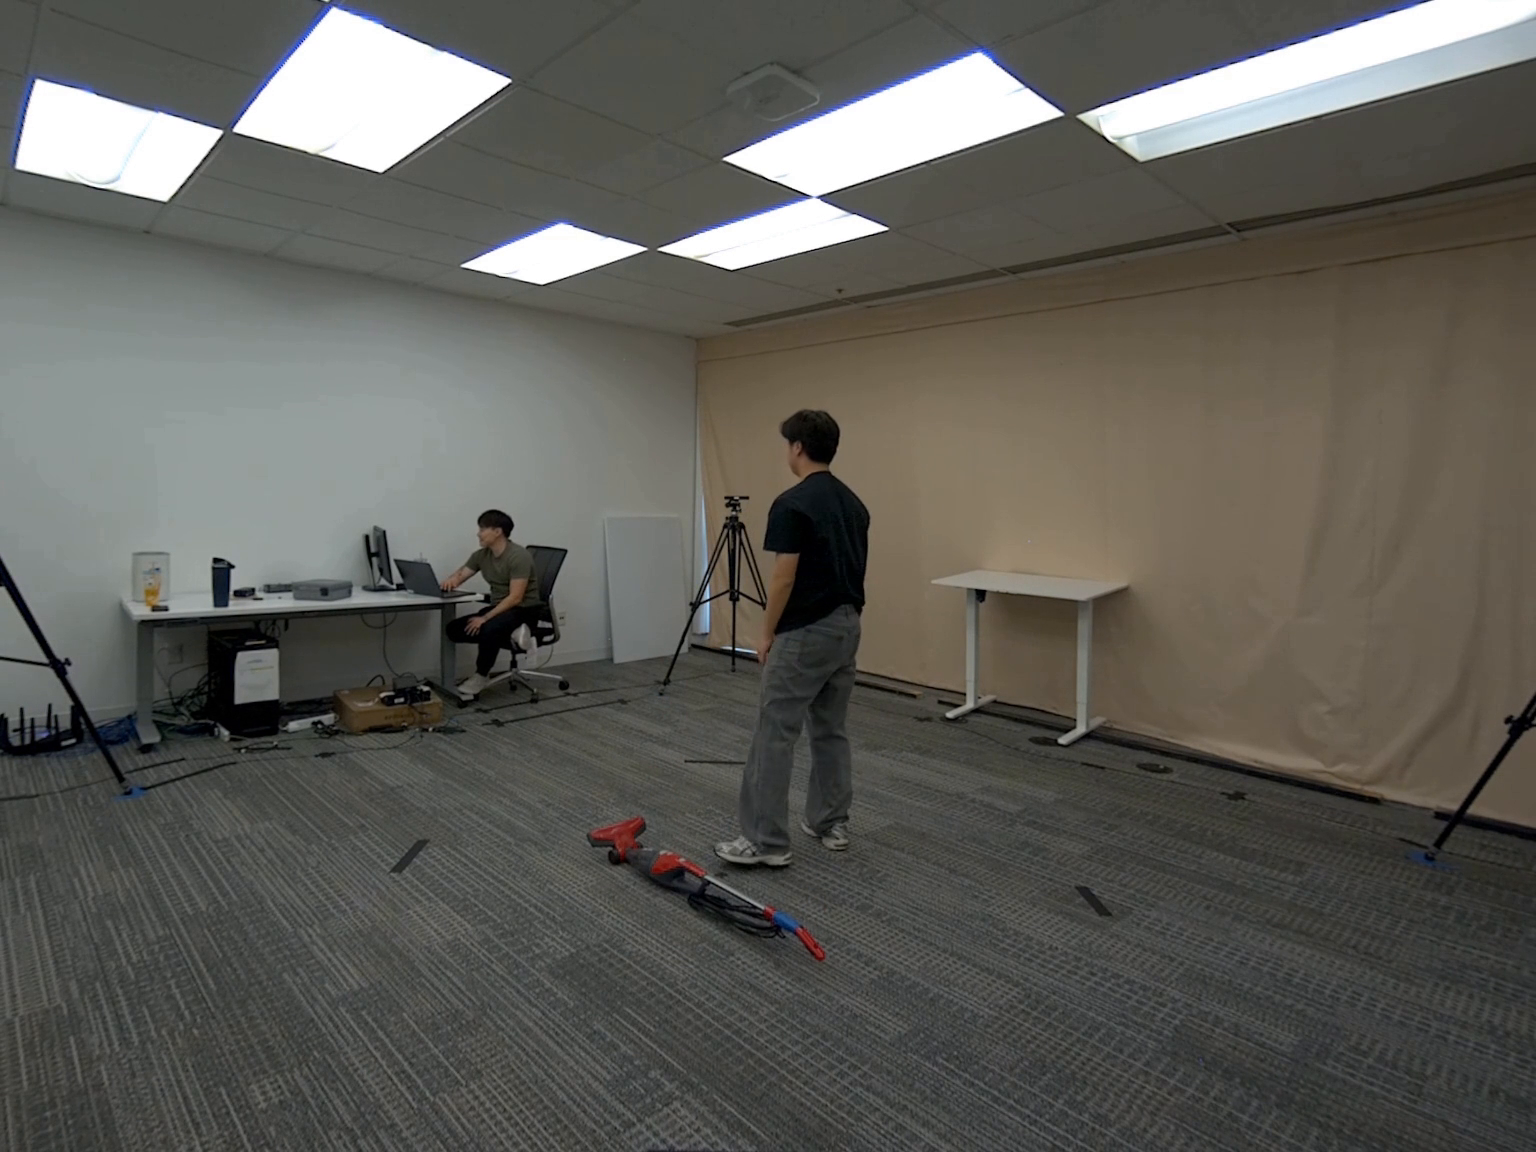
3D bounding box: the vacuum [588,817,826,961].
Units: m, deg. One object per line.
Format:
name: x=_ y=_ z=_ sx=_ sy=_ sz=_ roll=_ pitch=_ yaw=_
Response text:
vacuum: x=-0.216 y=1.065 z=2.846 sx=0.247 sy=0.143 sz=1.076 roll=-2 pitch=6 yaw=-41
